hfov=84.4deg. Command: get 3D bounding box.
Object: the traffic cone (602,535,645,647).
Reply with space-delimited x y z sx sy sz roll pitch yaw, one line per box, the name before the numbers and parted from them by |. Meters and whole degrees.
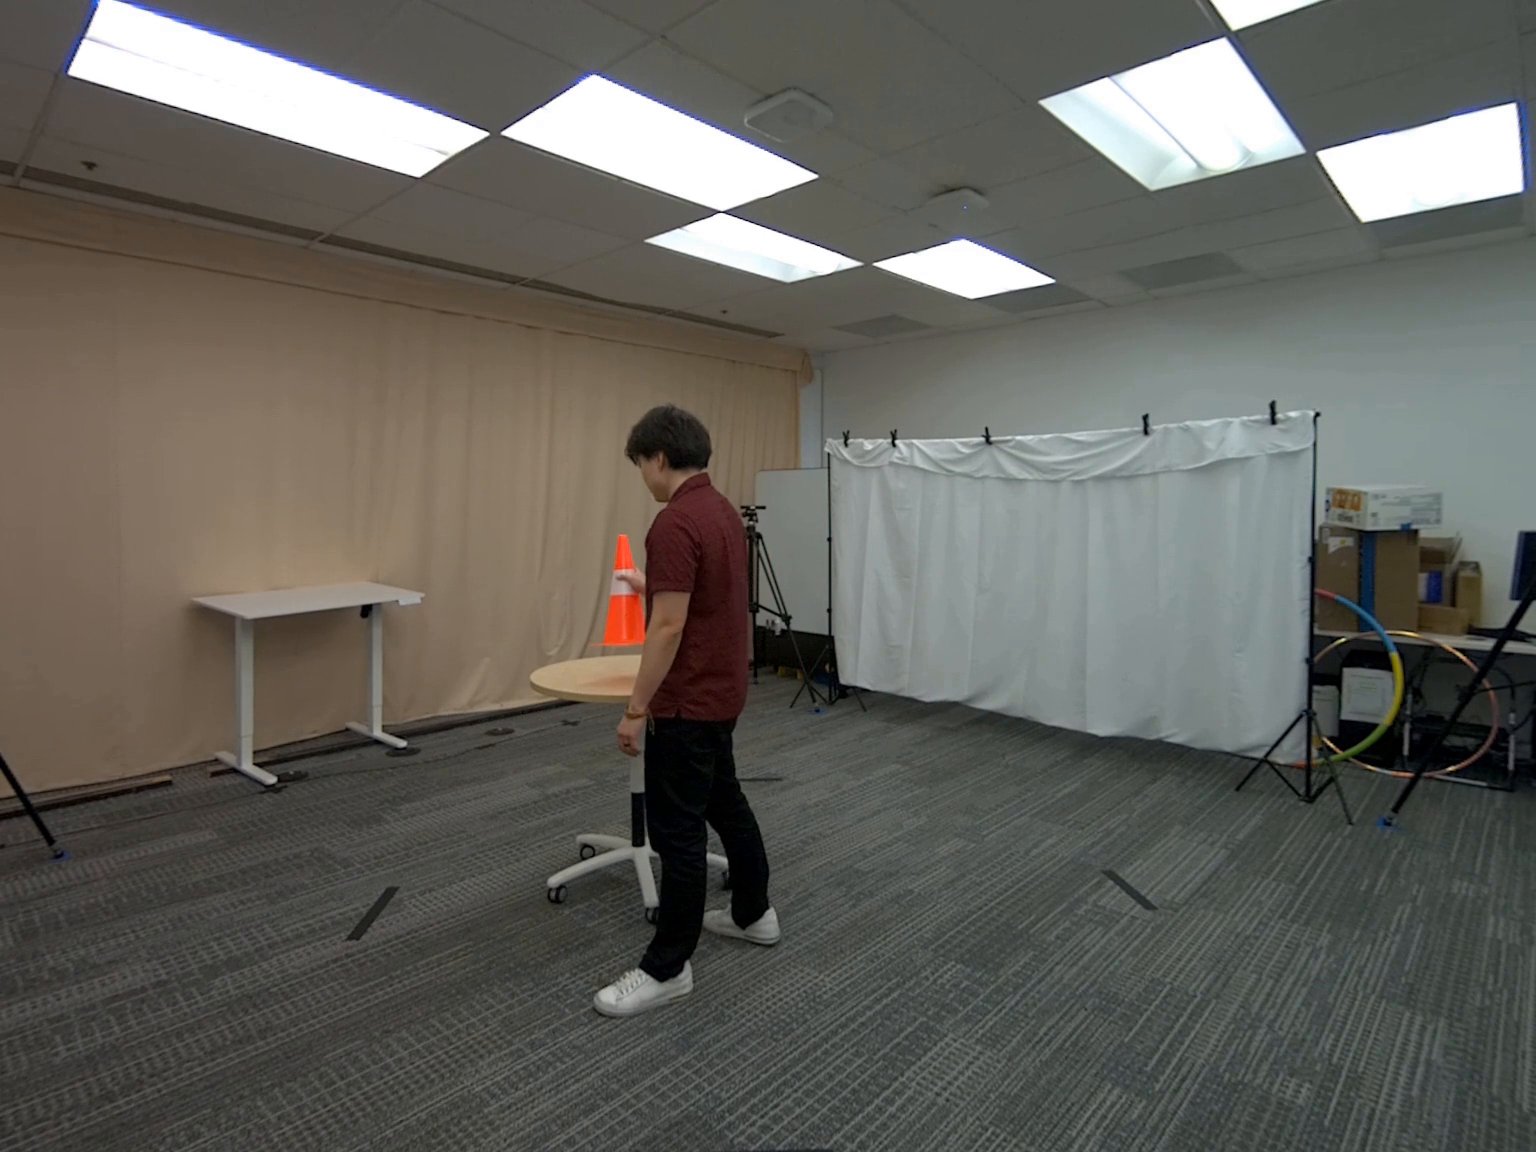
traffic cone | -0.504 0.050 2.958 0.211 0.385 0.197 -5 -7 32
